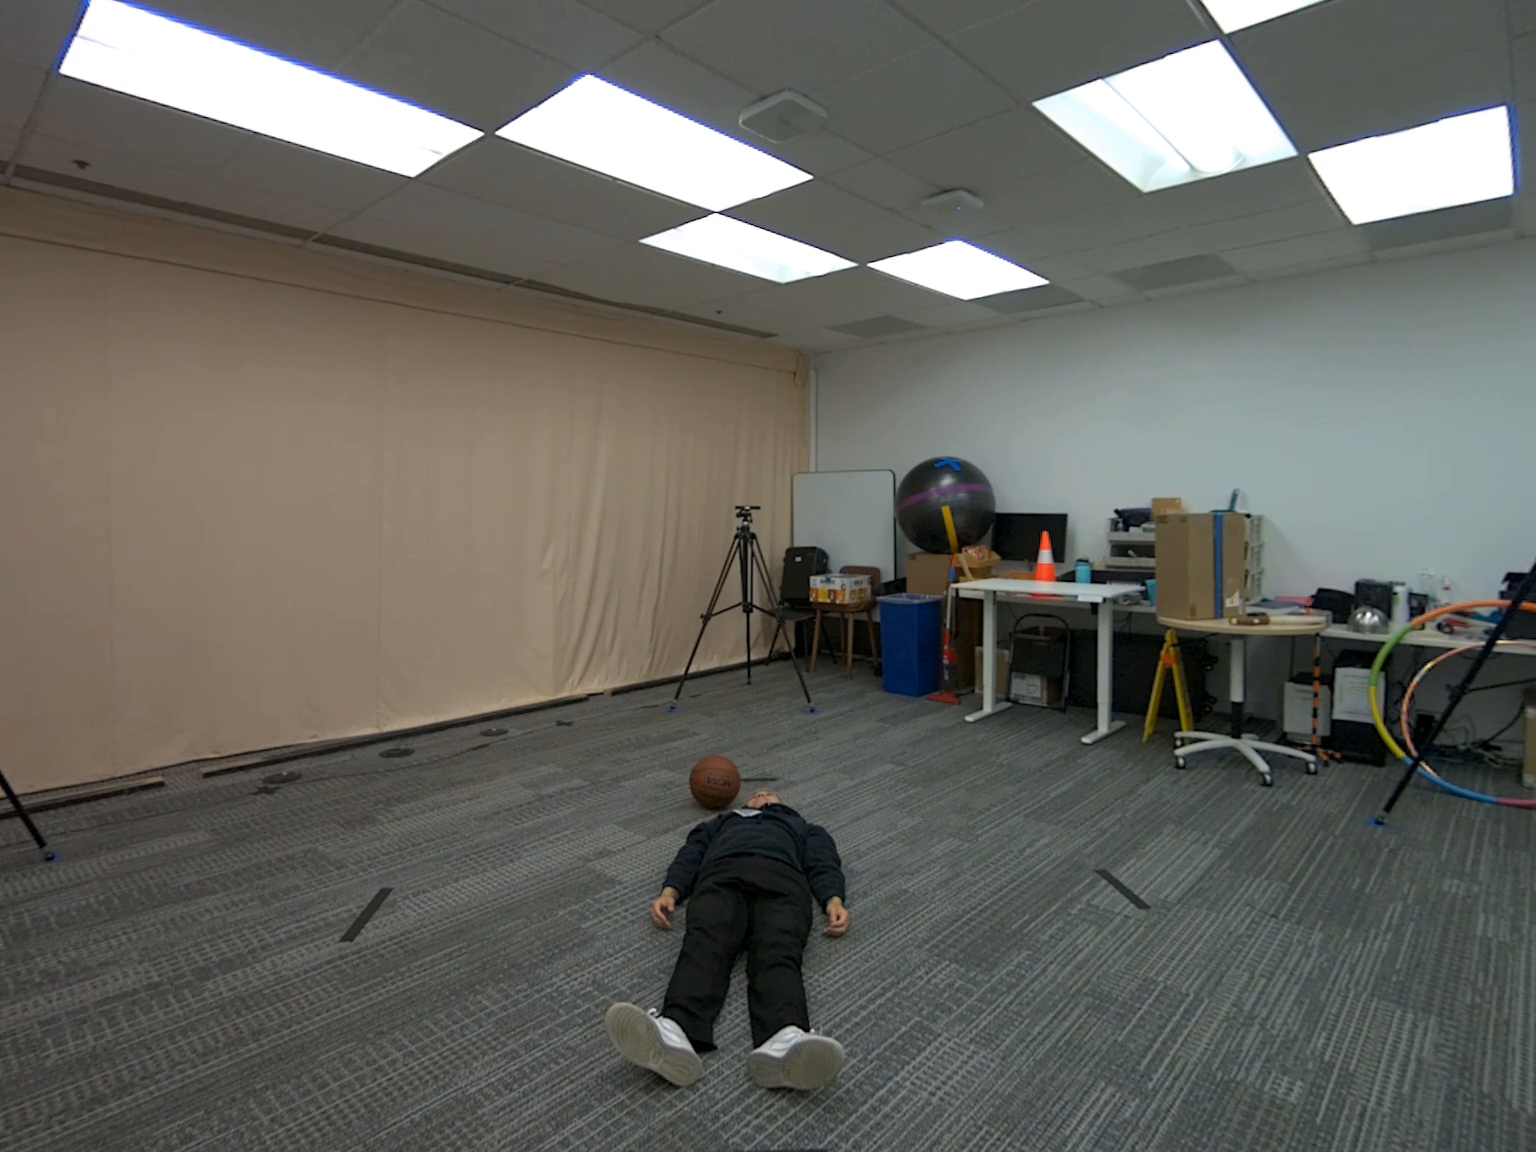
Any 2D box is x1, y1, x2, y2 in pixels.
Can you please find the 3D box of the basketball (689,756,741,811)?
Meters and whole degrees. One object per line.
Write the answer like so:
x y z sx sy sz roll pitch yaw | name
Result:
-0.244 0.953 3.904 0.236 0.235 0.237 0 4 -2 | basketball
